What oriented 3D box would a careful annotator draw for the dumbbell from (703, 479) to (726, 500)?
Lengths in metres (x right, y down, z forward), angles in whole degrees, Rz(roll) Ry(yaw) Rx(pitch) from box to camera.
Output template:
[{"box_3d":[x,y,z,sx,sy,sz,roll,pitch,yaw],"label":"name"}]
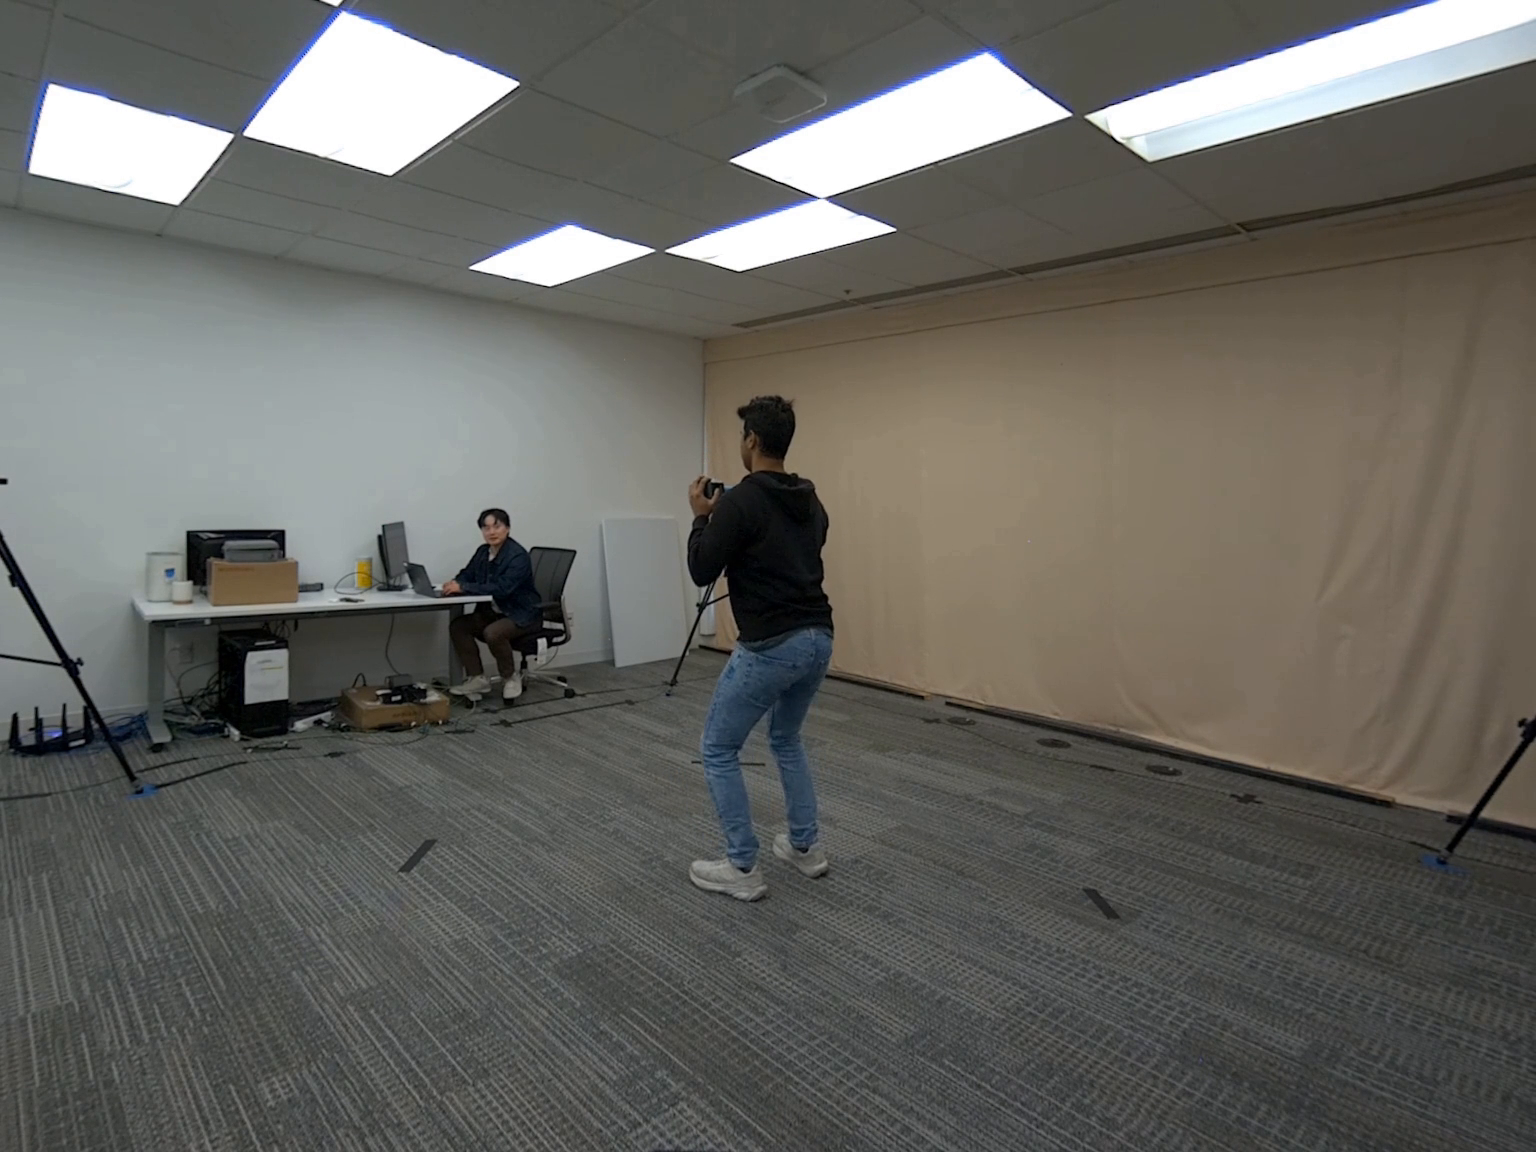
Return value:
[{"box_3d":[-0.138,-0.293,3.197,0.287,0.123,0.111,-4,-5,-42],"label":"dumbbell"}]
